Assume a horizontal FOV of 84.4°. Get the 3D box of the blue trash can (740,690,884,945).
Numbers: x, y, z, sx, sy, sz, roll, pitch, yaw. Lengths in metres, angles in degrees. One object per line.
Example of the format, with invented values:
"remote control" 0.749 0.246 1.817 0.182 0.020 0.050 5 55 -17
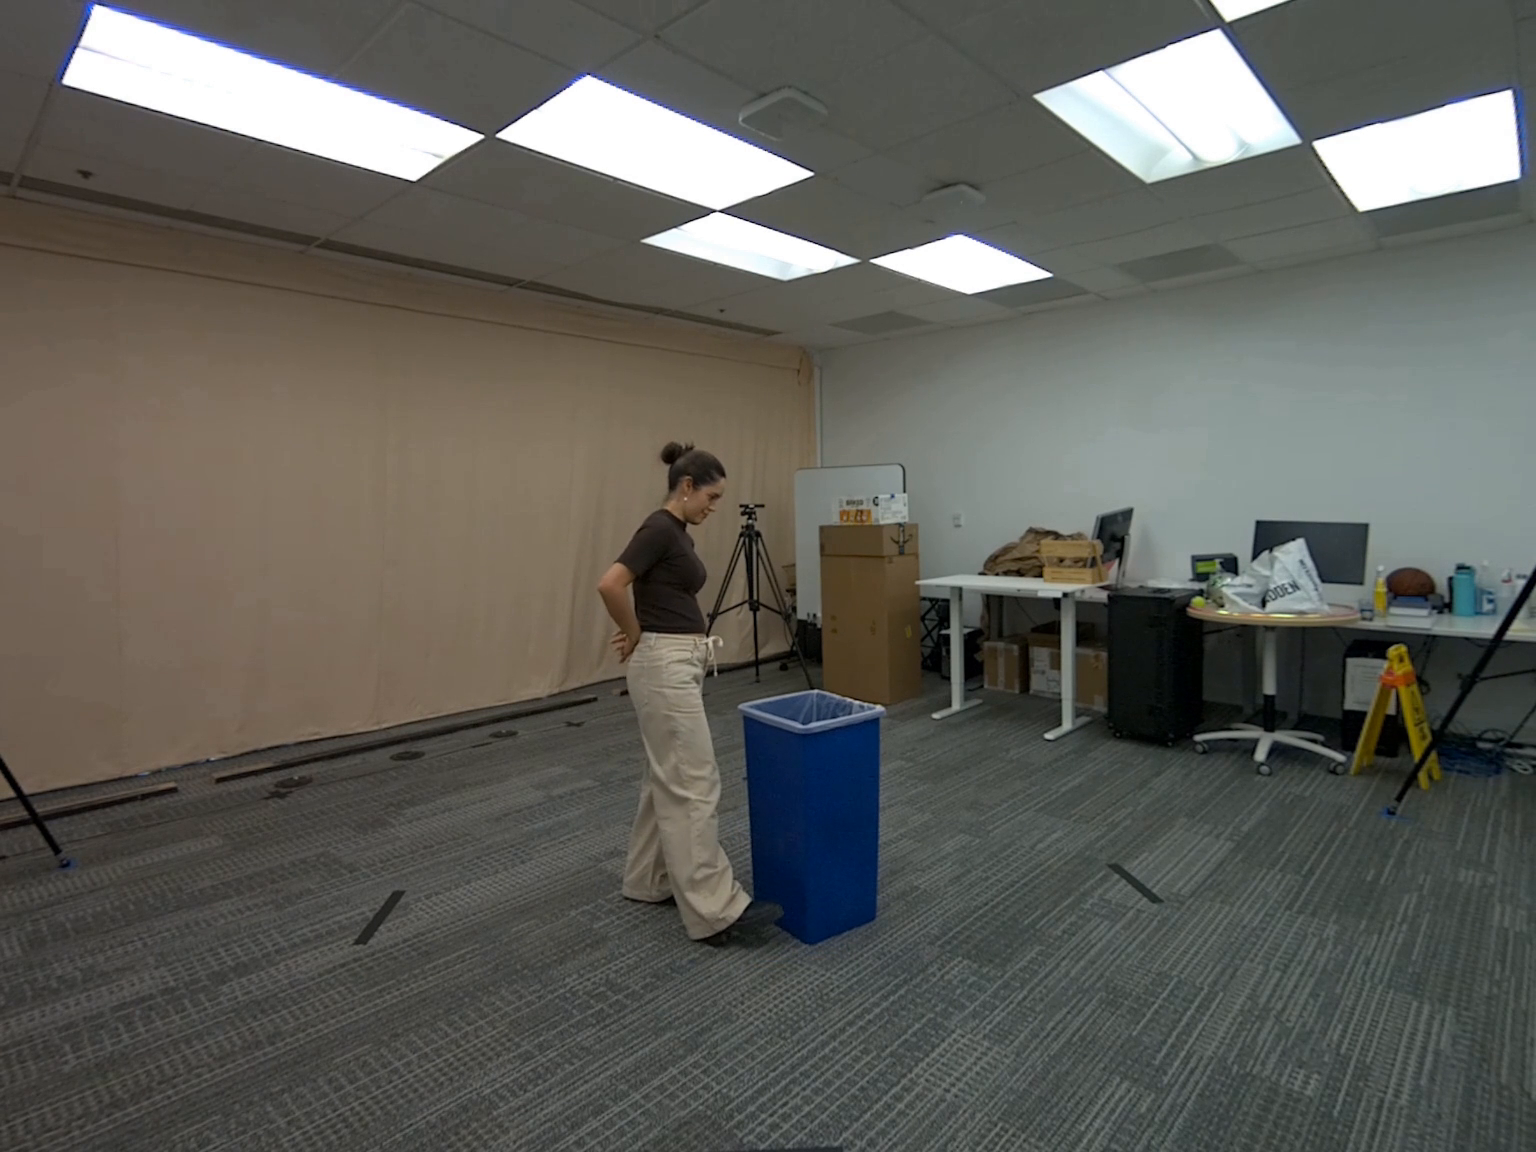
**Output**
"blue trash can" 0.148 0.792 2.833 0.367 0.712 0.386 -4 5 -36
